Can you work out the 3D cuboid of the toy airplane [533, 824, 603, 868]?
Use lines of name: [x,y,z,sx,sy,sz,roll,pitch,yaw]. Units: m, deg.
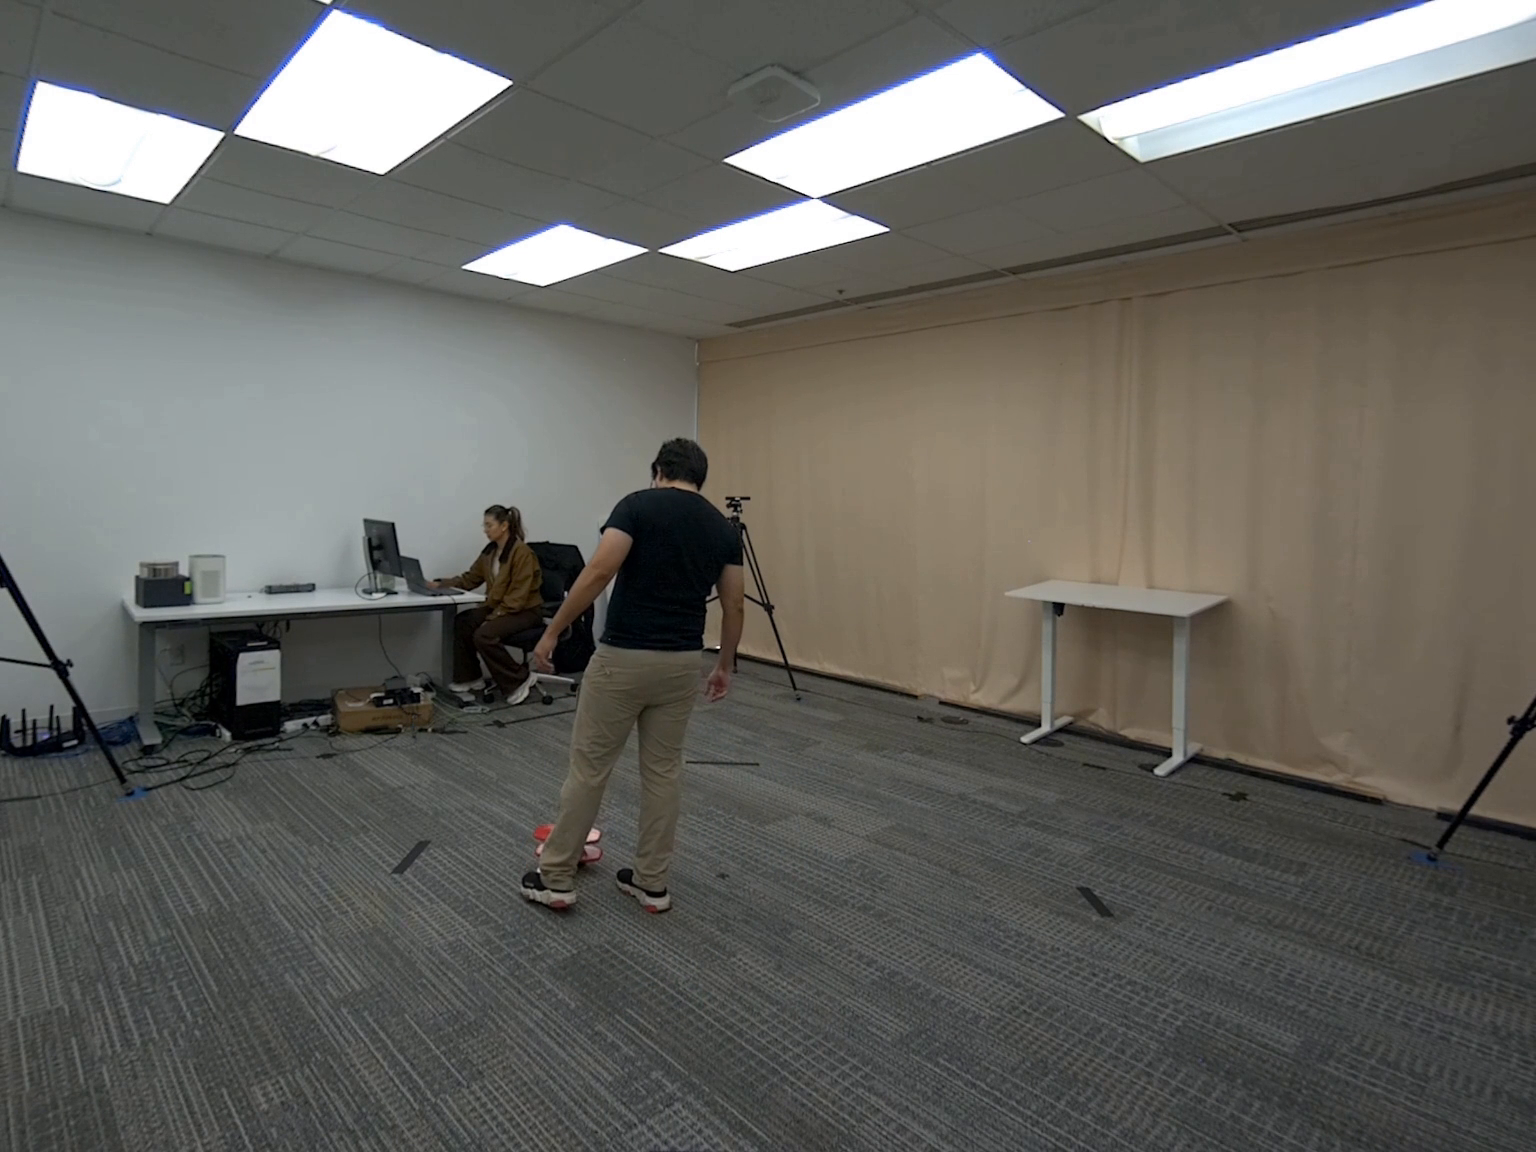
toy airplane: [-0.730,1.027,3.082,0.247,0.156,0.264,0,4,-21]
